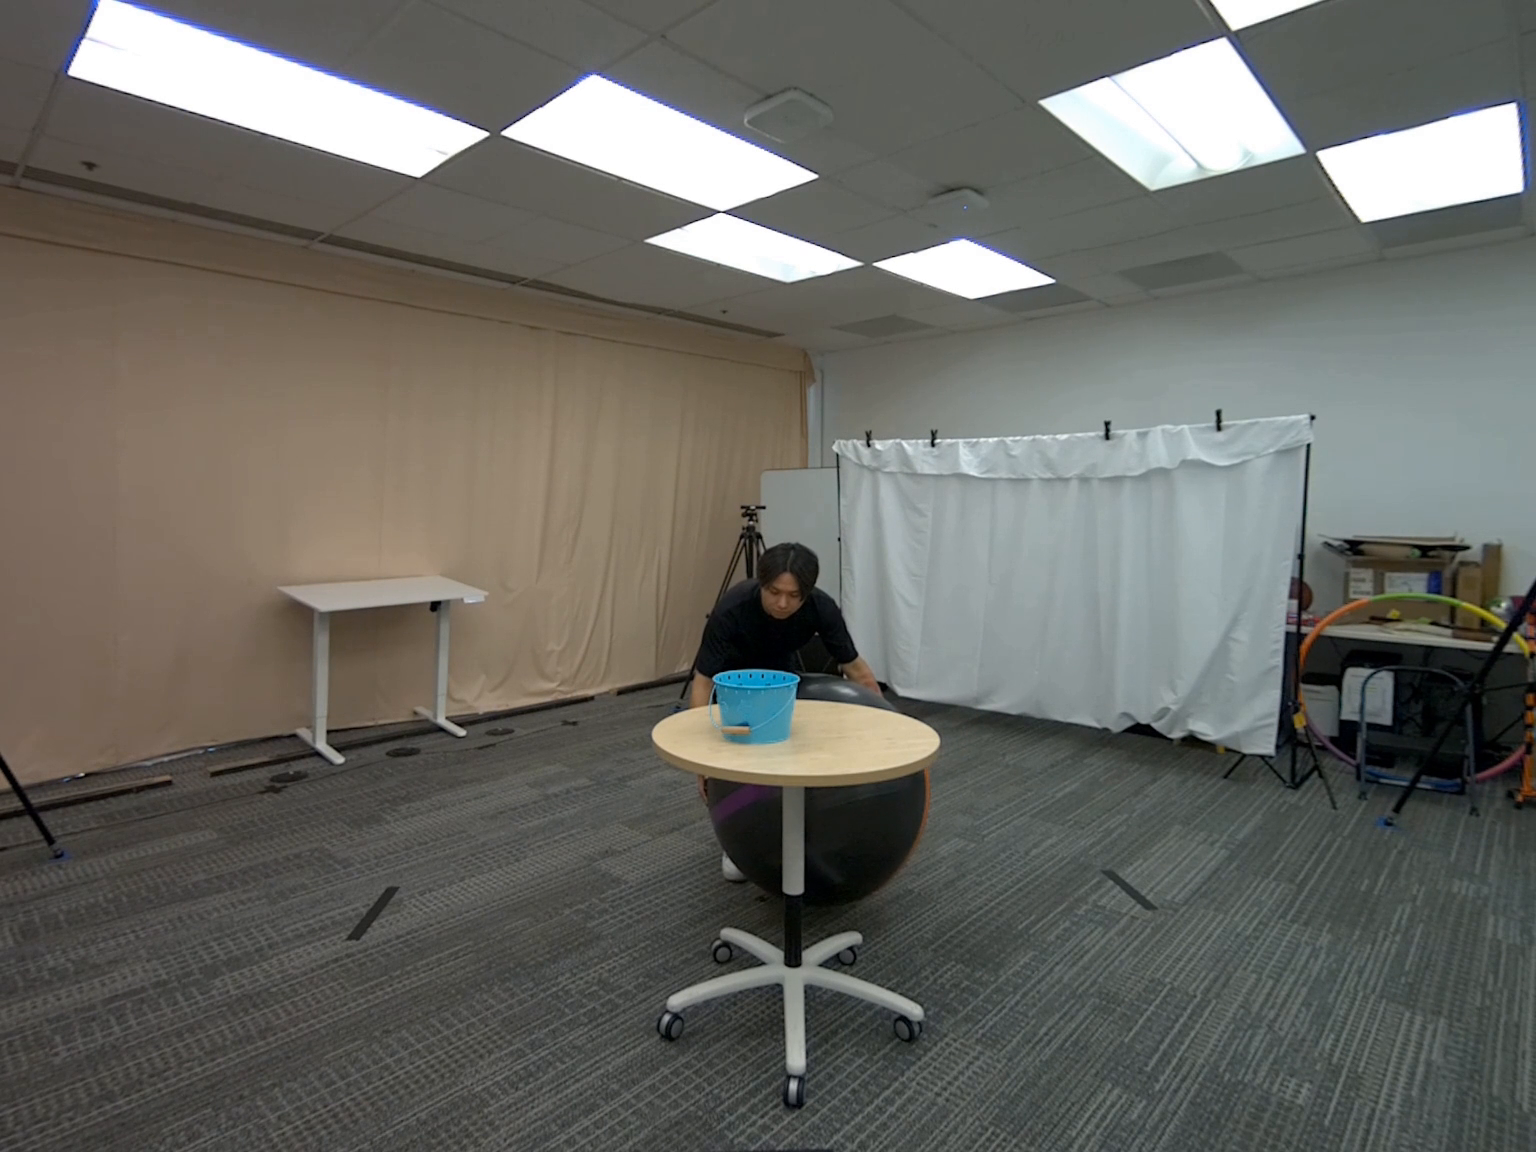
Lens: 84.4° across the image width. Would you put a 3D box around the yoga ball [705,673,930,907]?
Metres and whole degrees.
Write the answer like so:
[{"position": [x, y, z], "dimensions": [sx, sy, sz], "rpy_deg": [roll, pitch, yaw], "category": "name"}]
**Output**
[{"position": [0.172, 0.736, 2.907], "dimensions": [0.757, 0.756, 0.760], "rpy_deg": [0, 4, -2], "category": "yoga ball"}]
